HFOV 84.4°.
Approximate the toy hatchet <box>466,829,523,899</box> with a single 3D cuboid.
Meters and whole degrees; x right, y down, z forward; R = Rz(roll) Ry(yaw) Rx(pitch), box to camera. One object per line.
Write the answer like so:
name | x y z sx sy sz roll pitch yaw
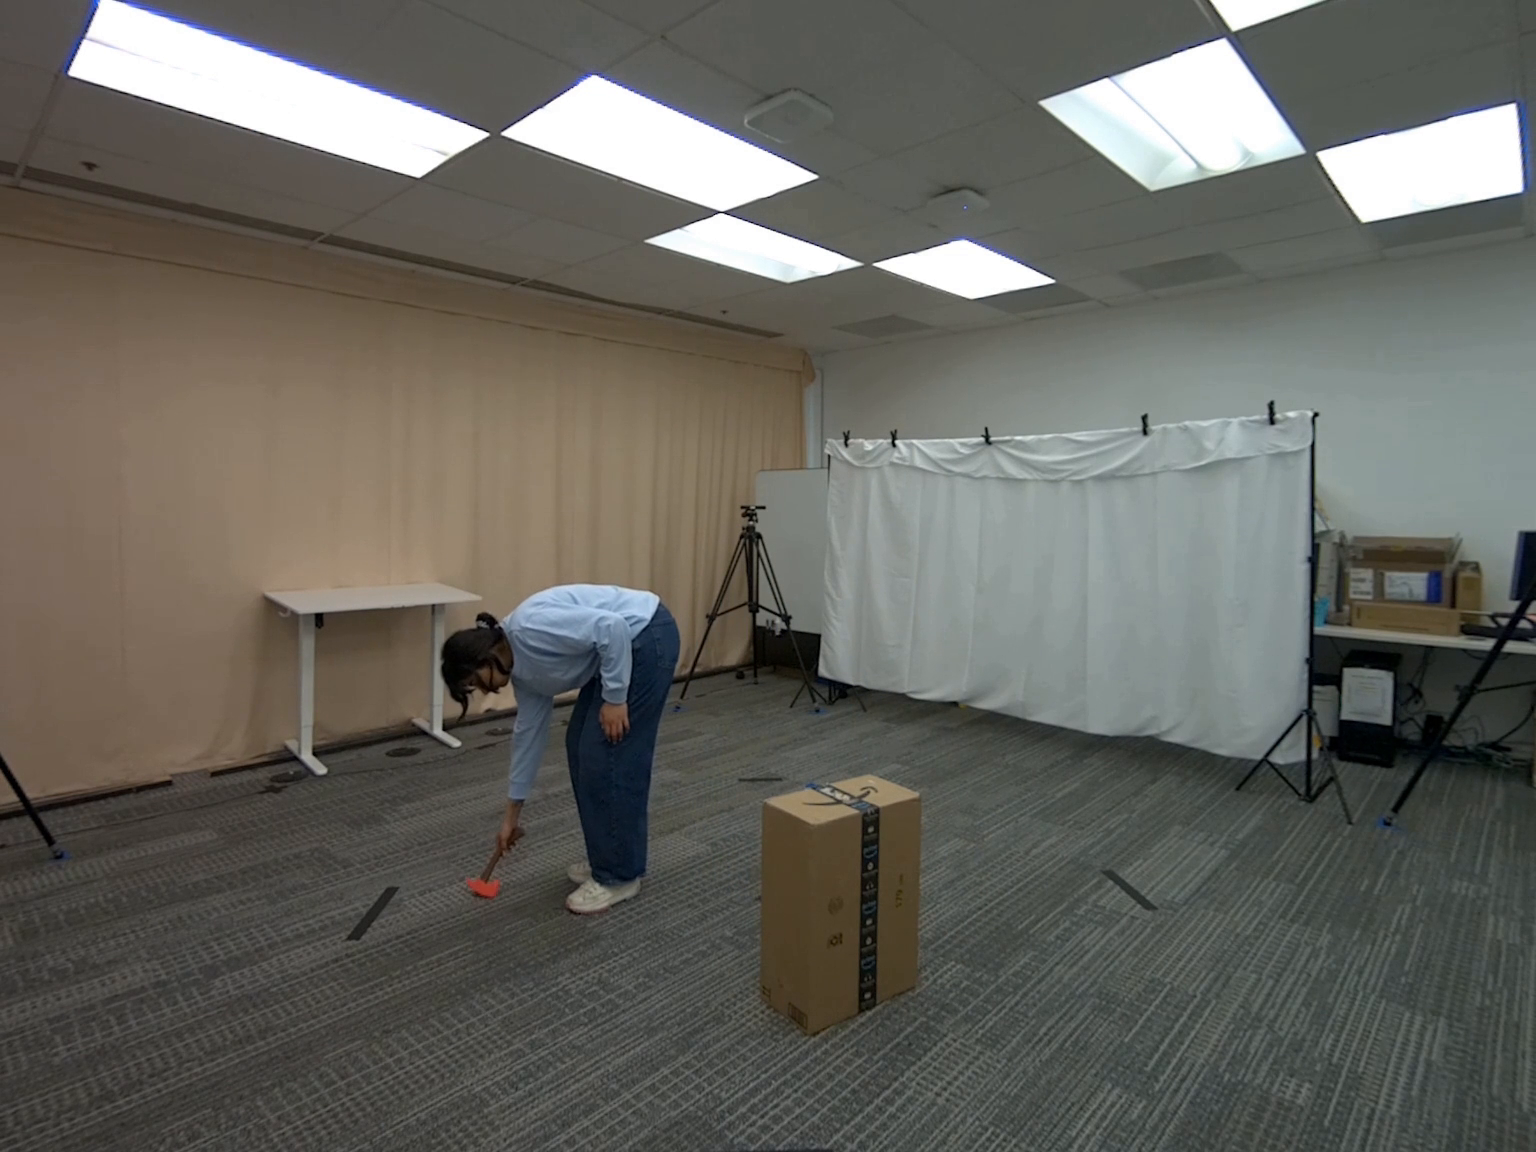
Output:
toy hatchet | -0.963 1.050 3.054 0.135 0.269 0.029 41 -13 27
